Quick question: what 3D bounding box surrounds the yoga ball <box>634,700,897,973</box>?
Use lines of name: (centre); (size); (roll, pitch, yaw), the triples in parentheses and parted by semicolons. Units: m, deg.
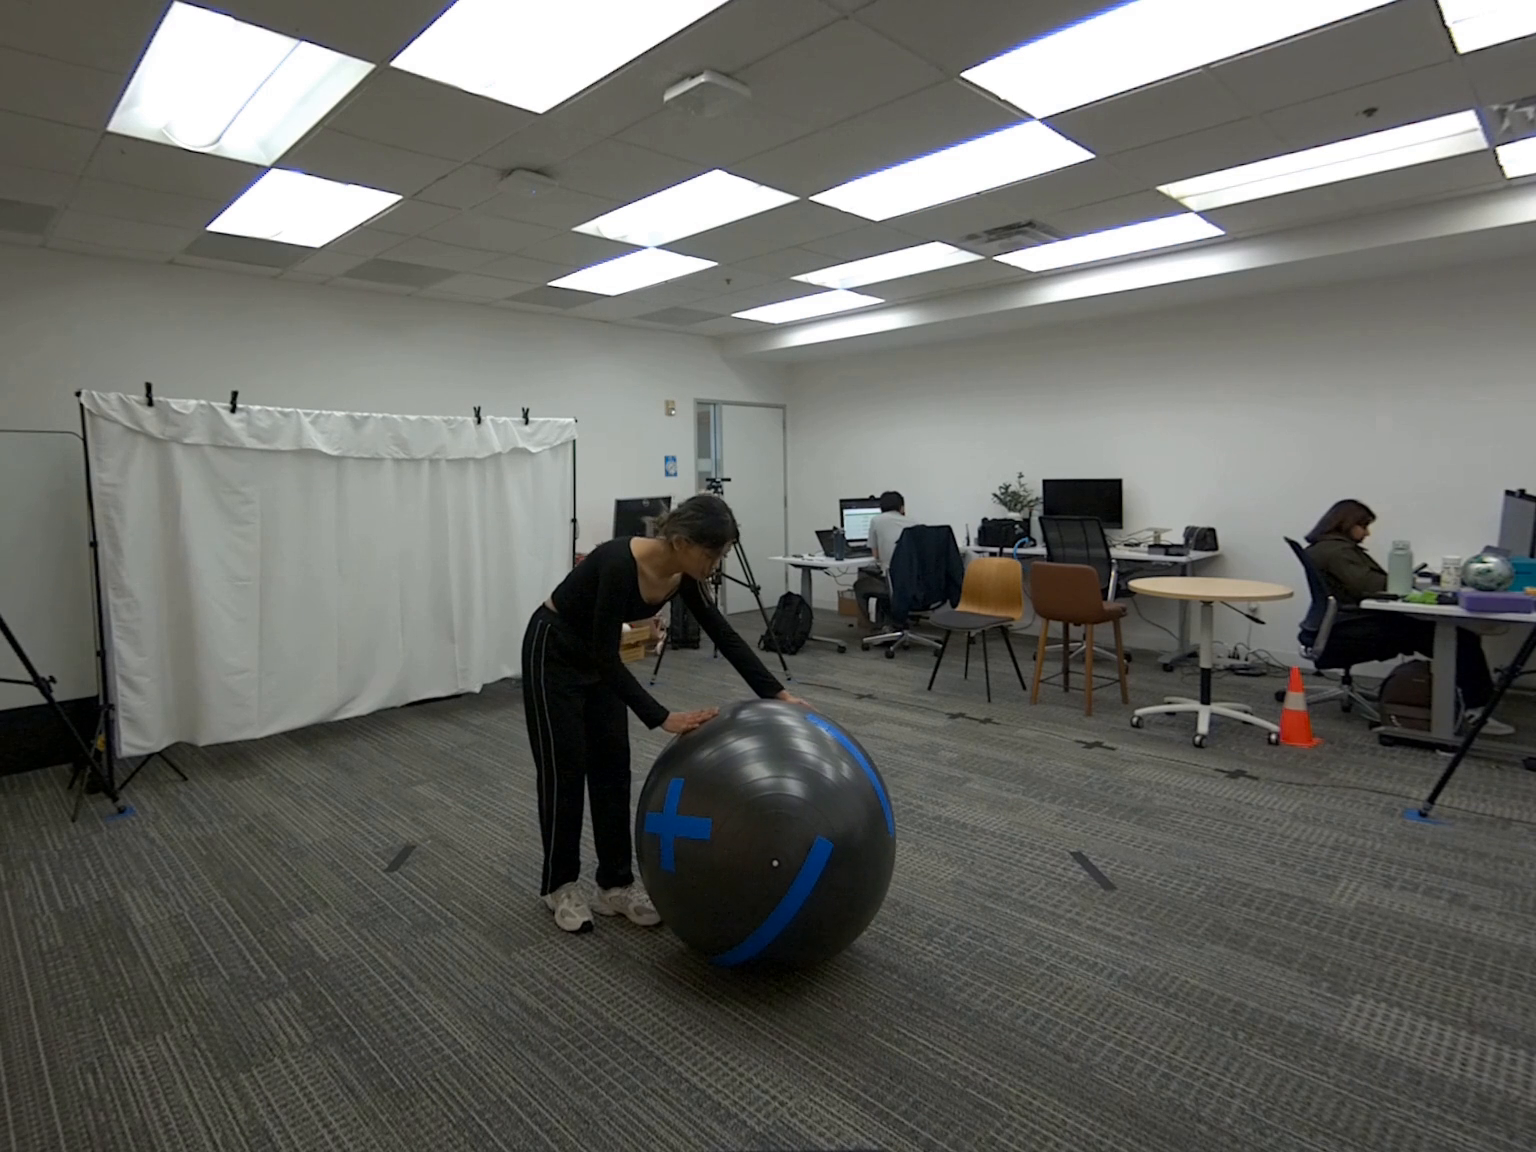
yoga ball: (-0.007, 0.747, 2.508); (0.757, 0.755, 0.762); (-1, 5, -2)
